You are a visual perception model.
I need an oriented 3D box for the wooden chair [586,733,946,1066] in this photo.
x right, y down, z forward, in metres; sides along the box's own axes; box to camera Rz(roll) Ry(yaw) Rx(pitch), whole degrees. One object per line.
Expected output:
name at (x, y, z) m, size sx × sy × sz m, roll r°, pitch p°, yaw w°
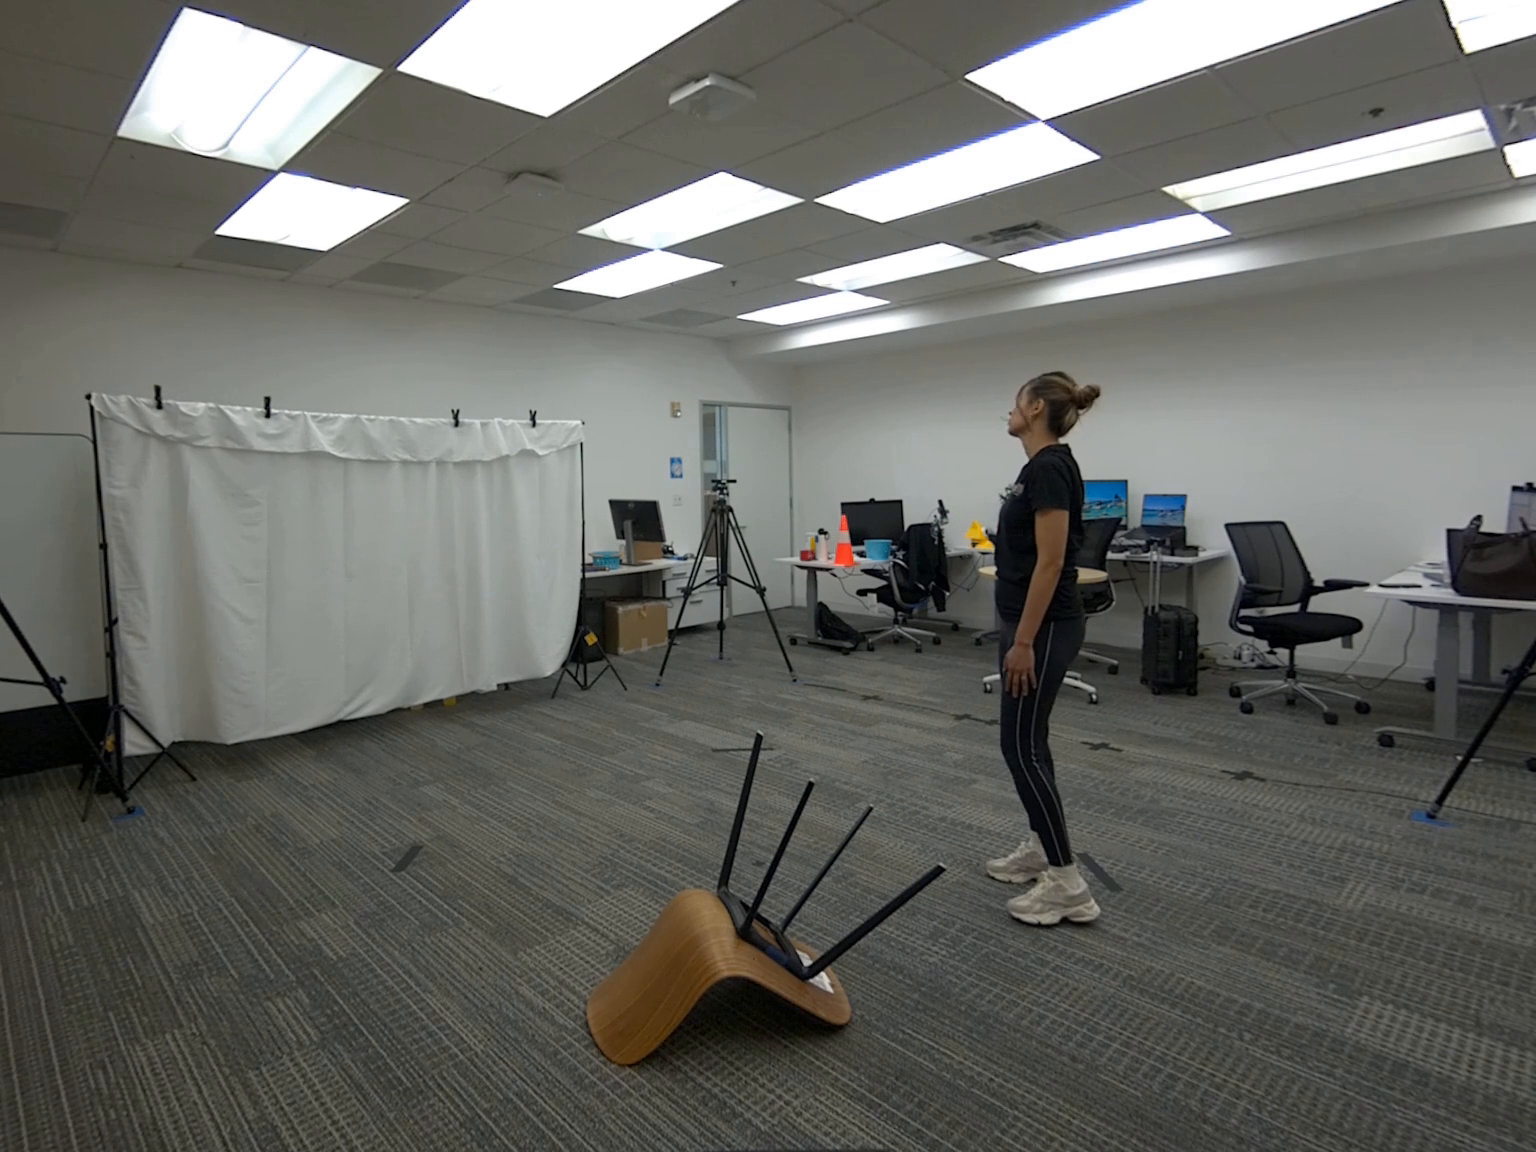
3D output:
wooden chair at (-0.006, 0.968, 2.313) m, size 0.513 × 0.878 × 0.487 m, roll 39°, pitch -7°, yaw -15°
